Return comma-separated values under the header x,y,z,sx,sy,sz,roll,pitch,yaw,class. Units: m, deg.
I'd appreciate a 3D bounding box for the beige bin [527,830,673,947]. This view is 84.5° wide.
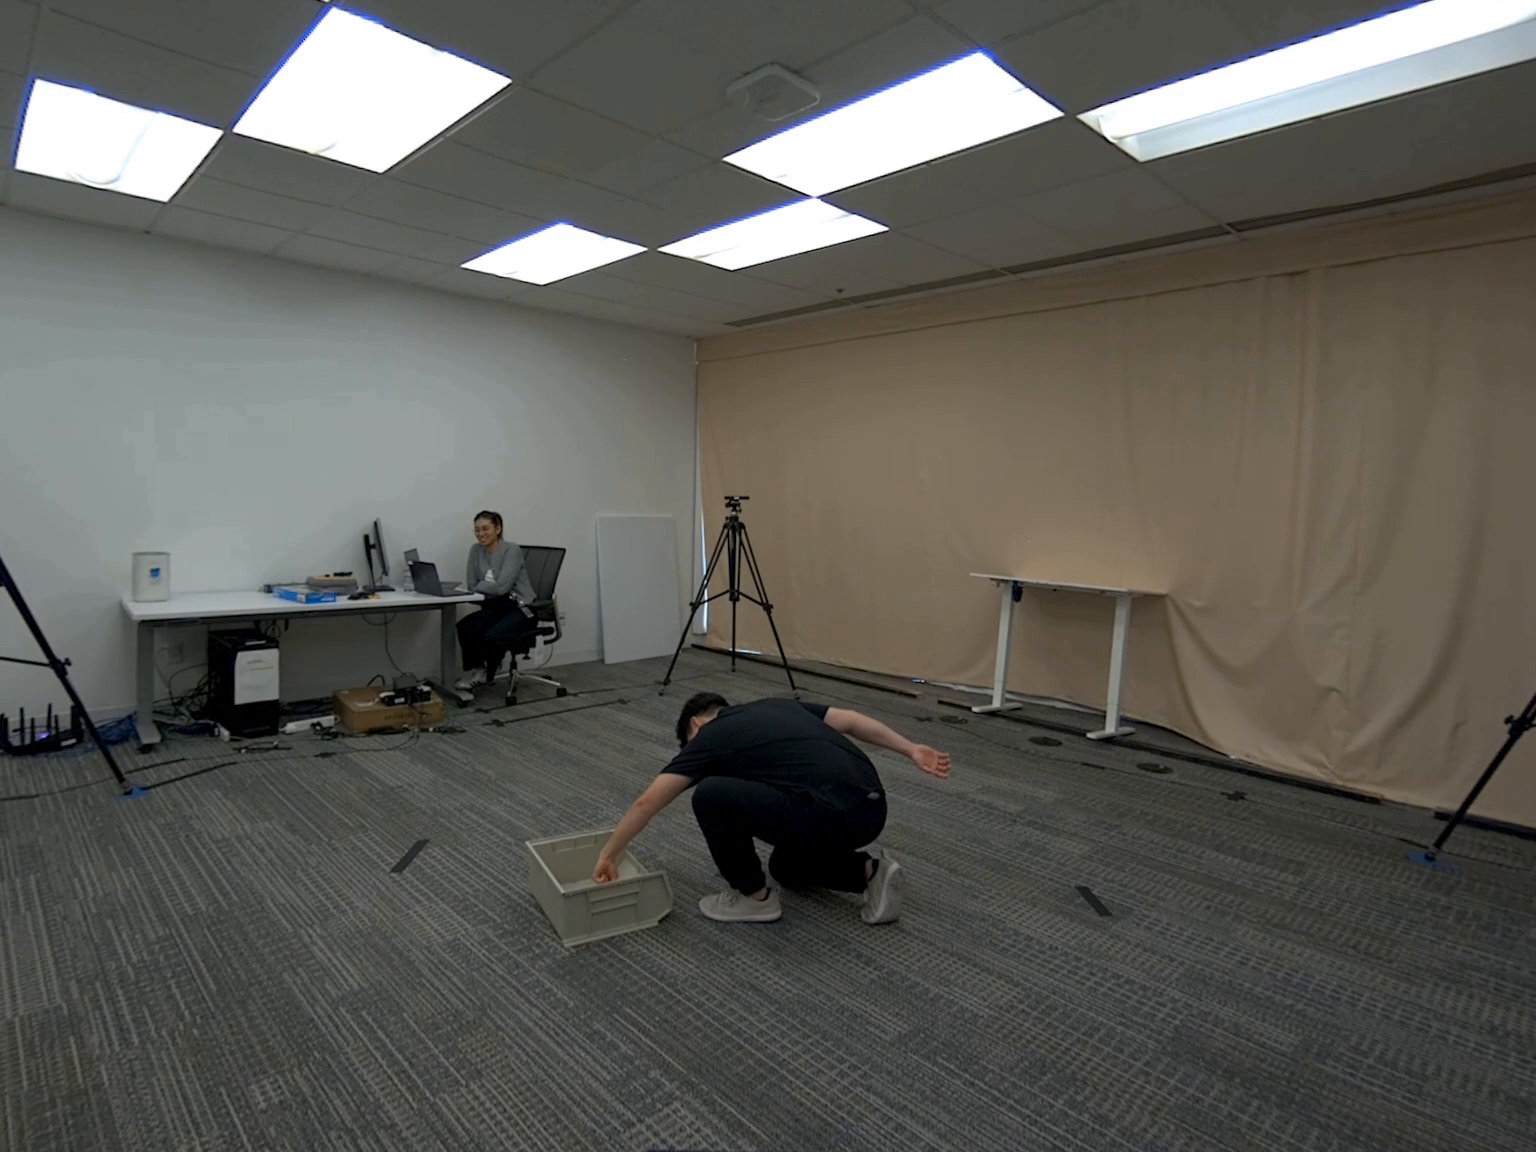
x,y,z,sx,sy,sz,roll,pitch,yaw,class
-0.575,1.024,2.840,0.370,0.188,0.432,-2,7,-30,beige bin
